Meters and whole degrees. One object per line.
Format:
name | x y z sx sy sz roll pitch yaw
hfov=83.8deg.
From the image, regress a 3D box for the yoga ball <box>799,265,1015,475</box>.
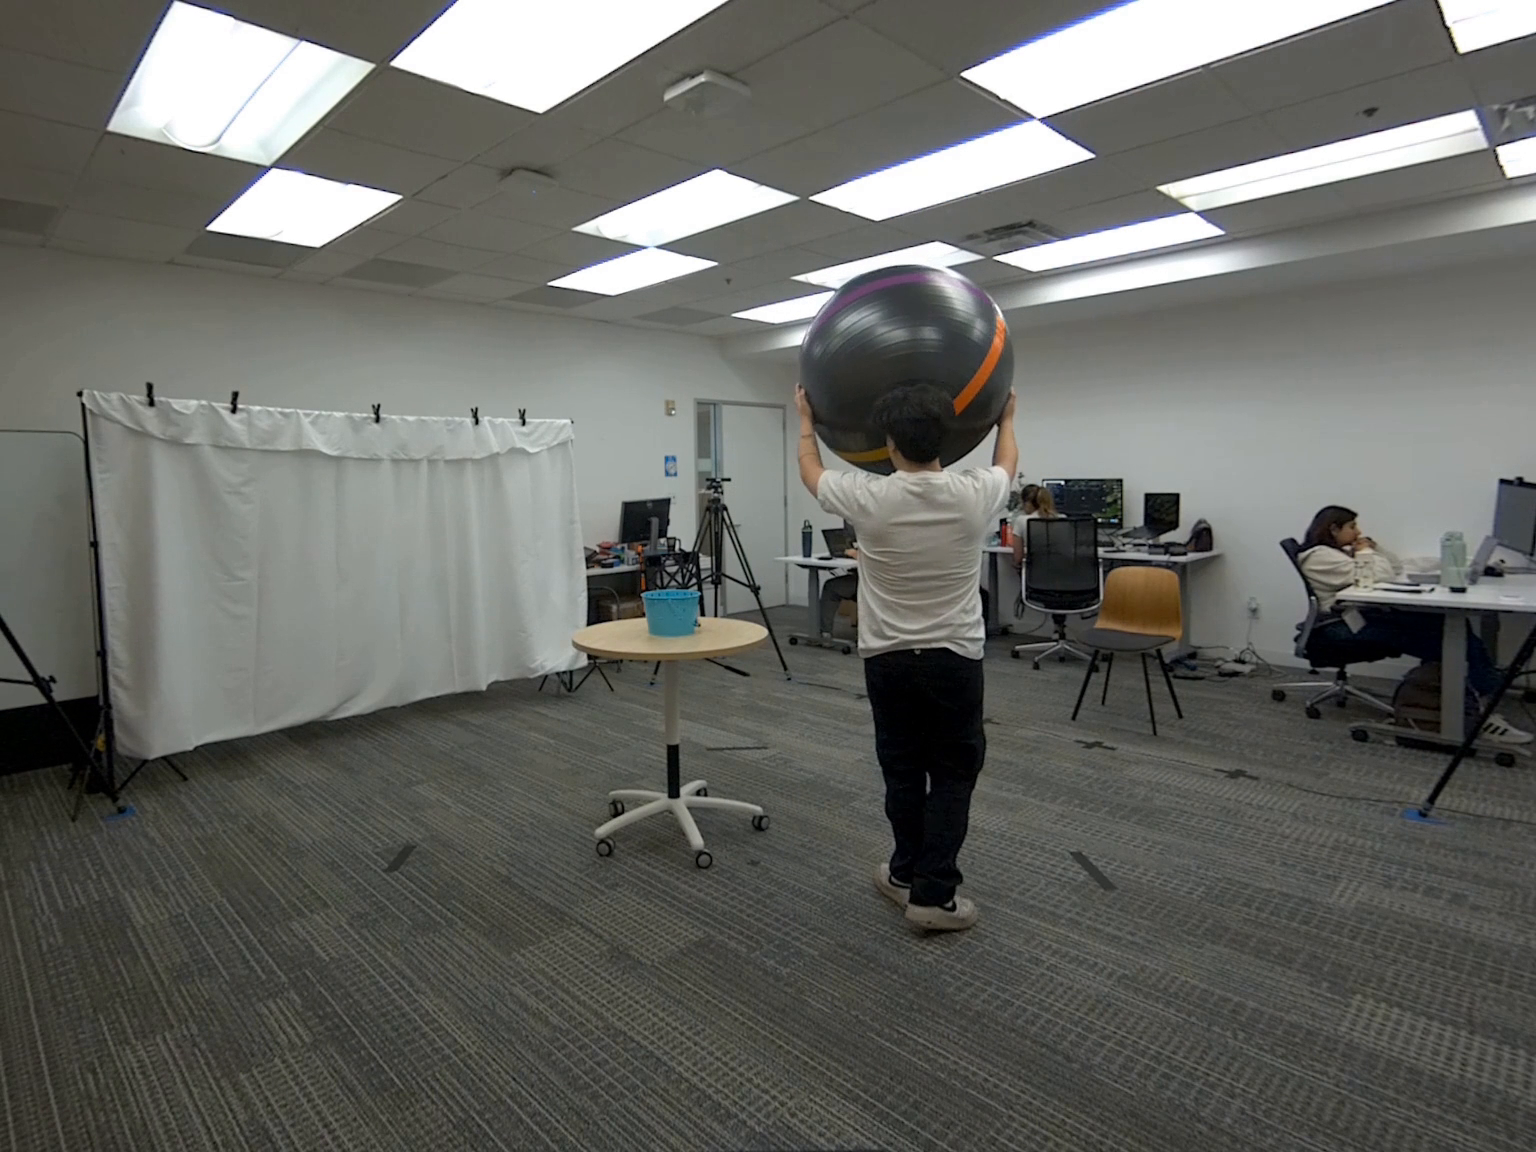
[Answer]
yoga ball | 0.492 -0.726 3.076 0.757 0.755 0.762 -1 5 -2
